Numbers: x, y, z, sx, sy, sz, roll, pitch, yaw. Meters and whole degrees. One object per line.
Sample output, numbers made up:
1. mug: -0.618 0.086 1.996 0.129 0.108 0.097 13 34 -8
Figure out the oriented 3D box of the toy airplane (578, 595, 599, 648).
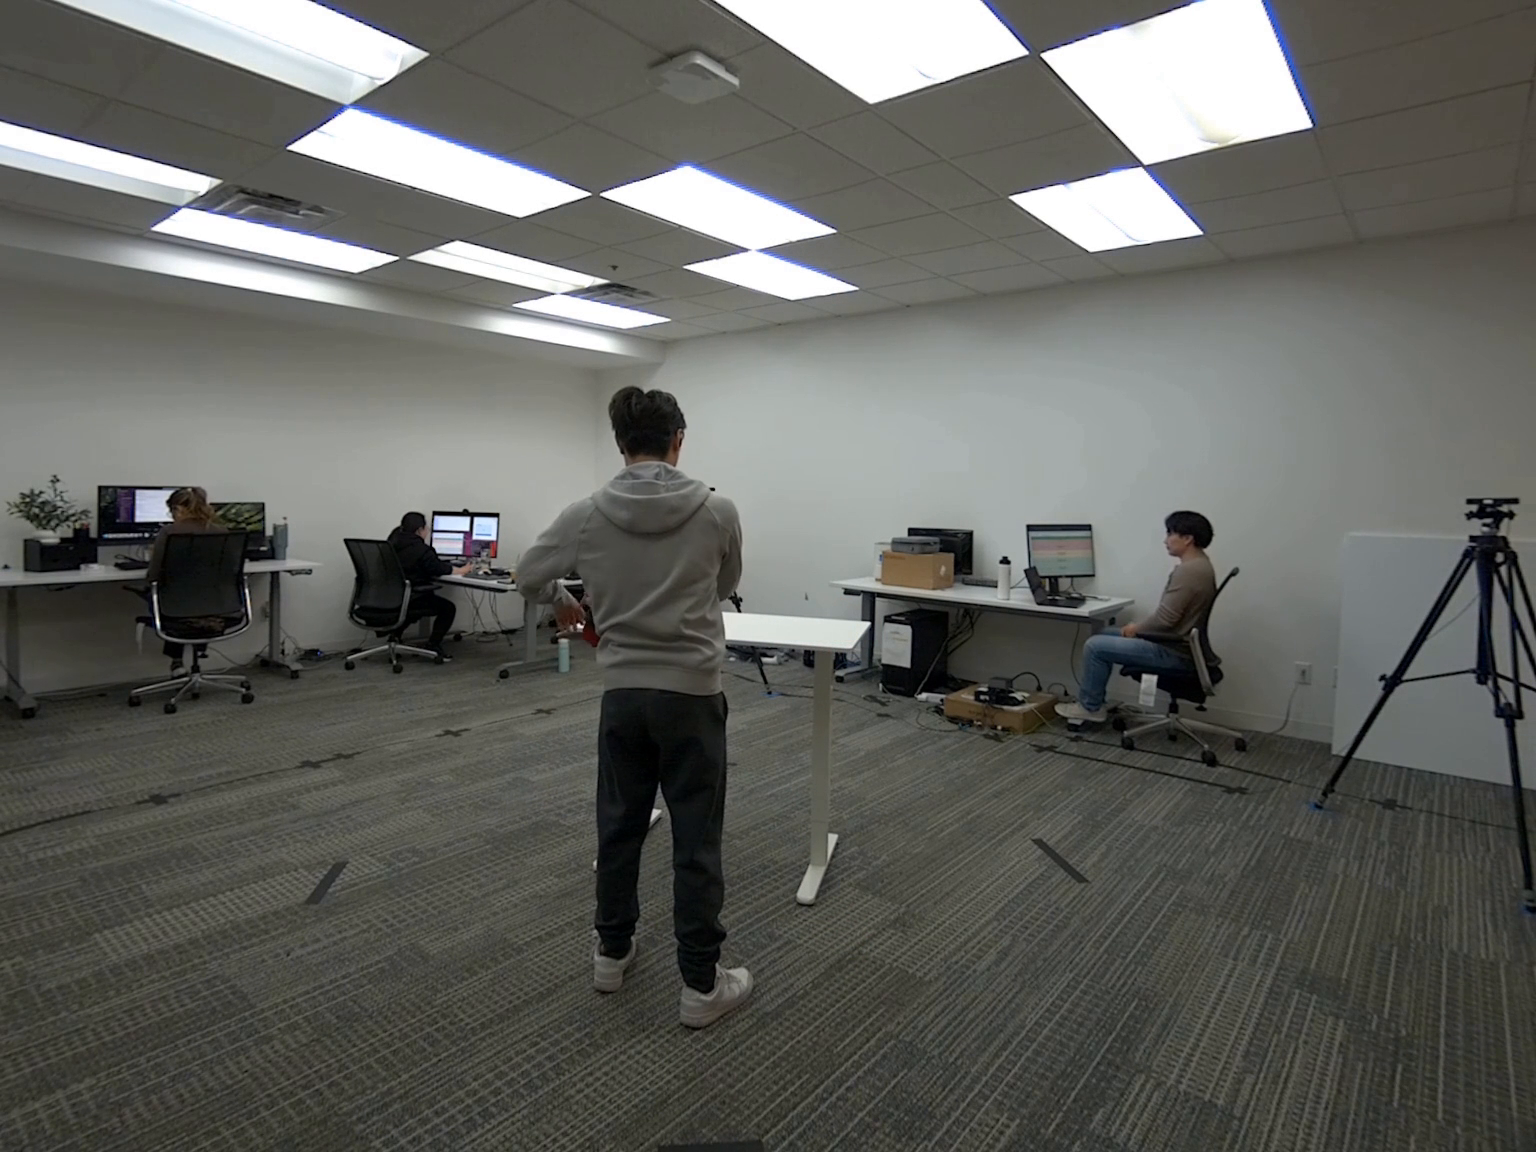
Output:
1. toy airplane: -0.415 0.114 2.530 0.251 0.250 0.162 -35 28 -2
